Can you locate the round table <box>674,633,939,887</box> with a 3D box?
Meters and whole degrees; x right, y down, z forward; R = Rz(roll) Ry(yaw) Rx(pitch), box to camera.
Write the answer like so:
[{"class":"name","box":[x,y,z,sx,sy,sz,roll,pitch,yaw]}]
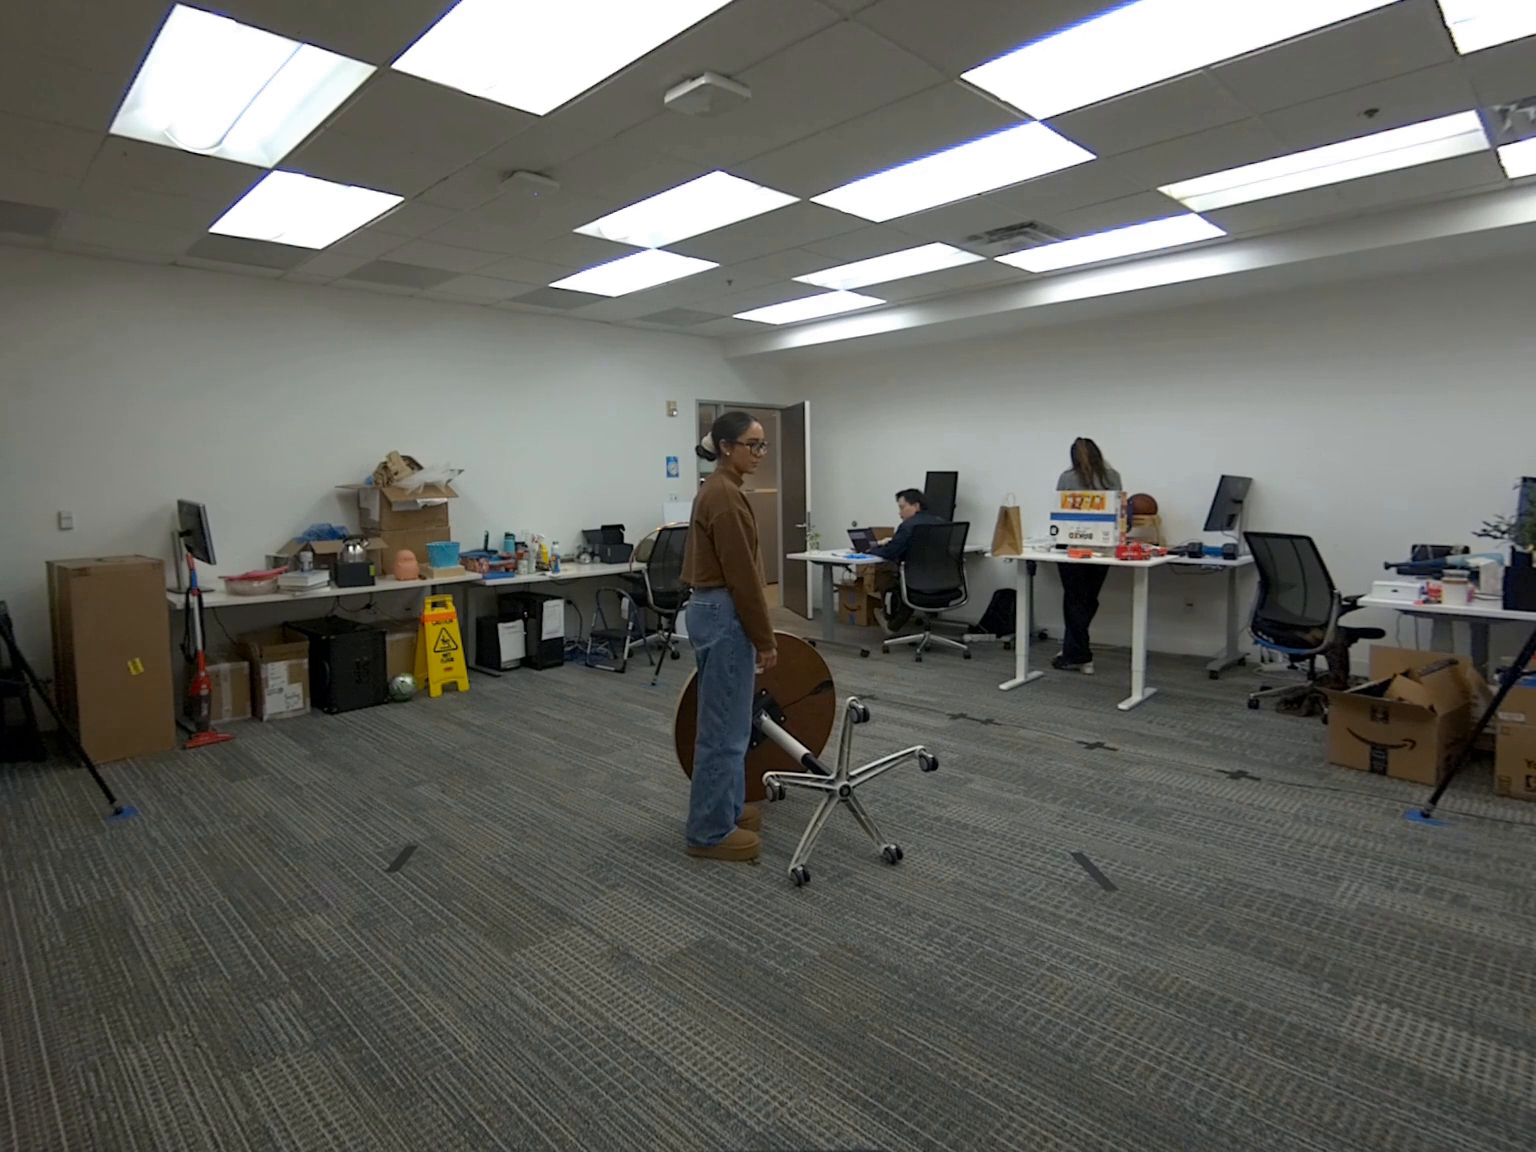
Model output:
[{"class":"round table","box":[0.133,0.686,3.300,0.748,0.757,0.819,-3,13,-26]}]
